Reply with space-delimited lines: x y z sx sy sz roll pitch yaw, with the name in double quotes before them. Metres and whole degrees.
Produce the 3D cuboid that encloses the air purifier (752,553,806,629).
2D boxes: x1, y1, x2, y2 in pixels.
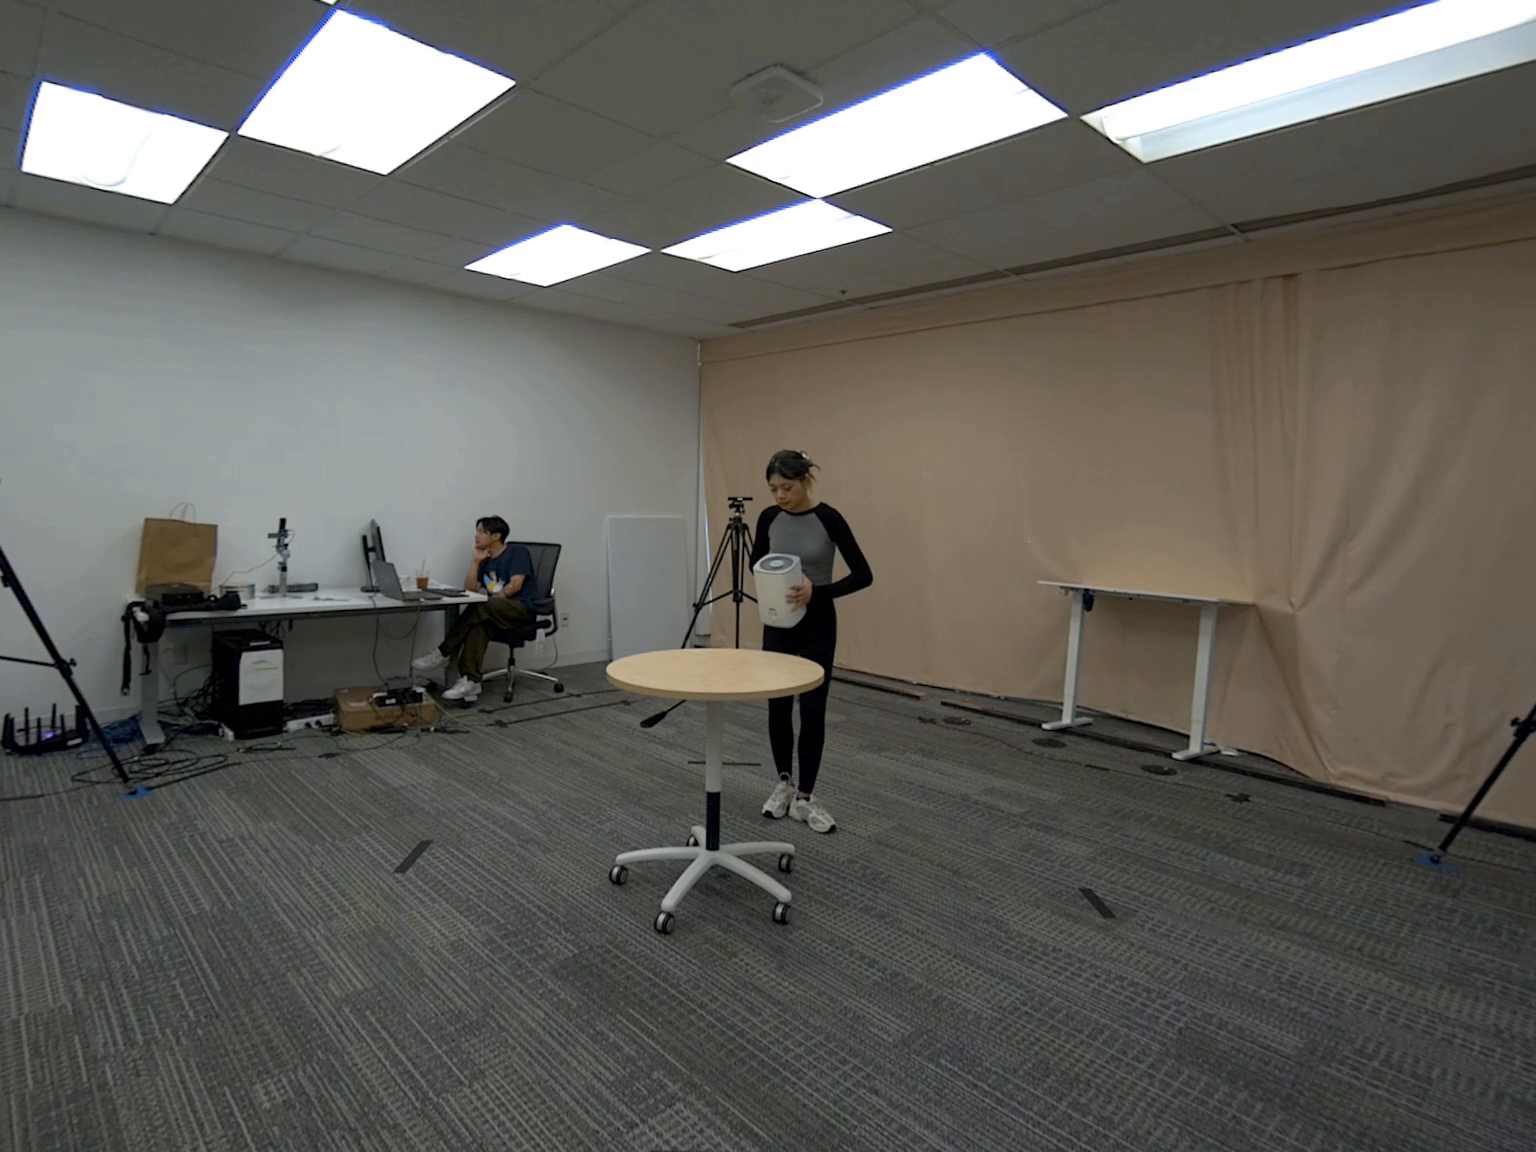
"air purifier" 0.033 0.070 3.486 0.174 0.260 0.171 4 27 27
